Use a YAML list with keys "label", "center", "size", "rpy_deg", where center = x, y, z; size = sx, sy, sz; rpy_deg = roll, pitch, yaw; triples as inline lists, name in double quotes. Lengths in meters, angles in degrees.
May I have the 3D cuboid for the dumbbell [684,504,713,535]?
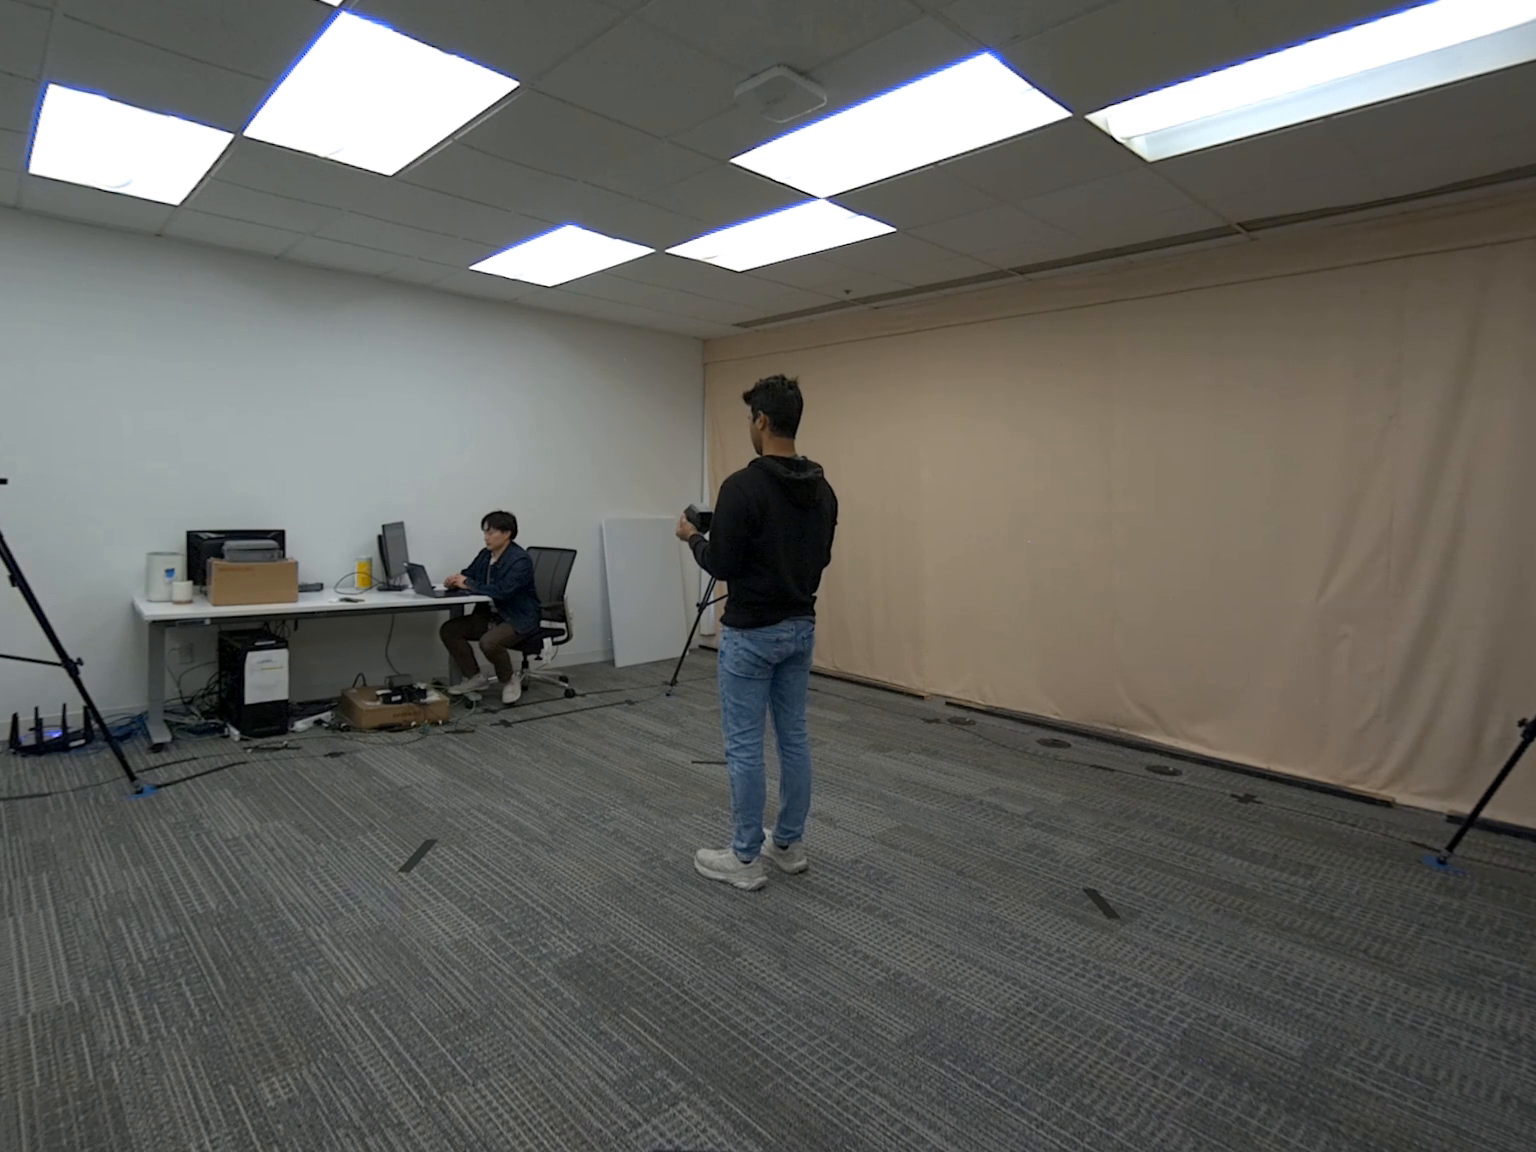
- label: "dumbbell"
  center: [-0.178, -0.212, 3.257]
  size: [0.287, 0.110, 0.123]
  rpy_deg: [-6, -20, -39]
